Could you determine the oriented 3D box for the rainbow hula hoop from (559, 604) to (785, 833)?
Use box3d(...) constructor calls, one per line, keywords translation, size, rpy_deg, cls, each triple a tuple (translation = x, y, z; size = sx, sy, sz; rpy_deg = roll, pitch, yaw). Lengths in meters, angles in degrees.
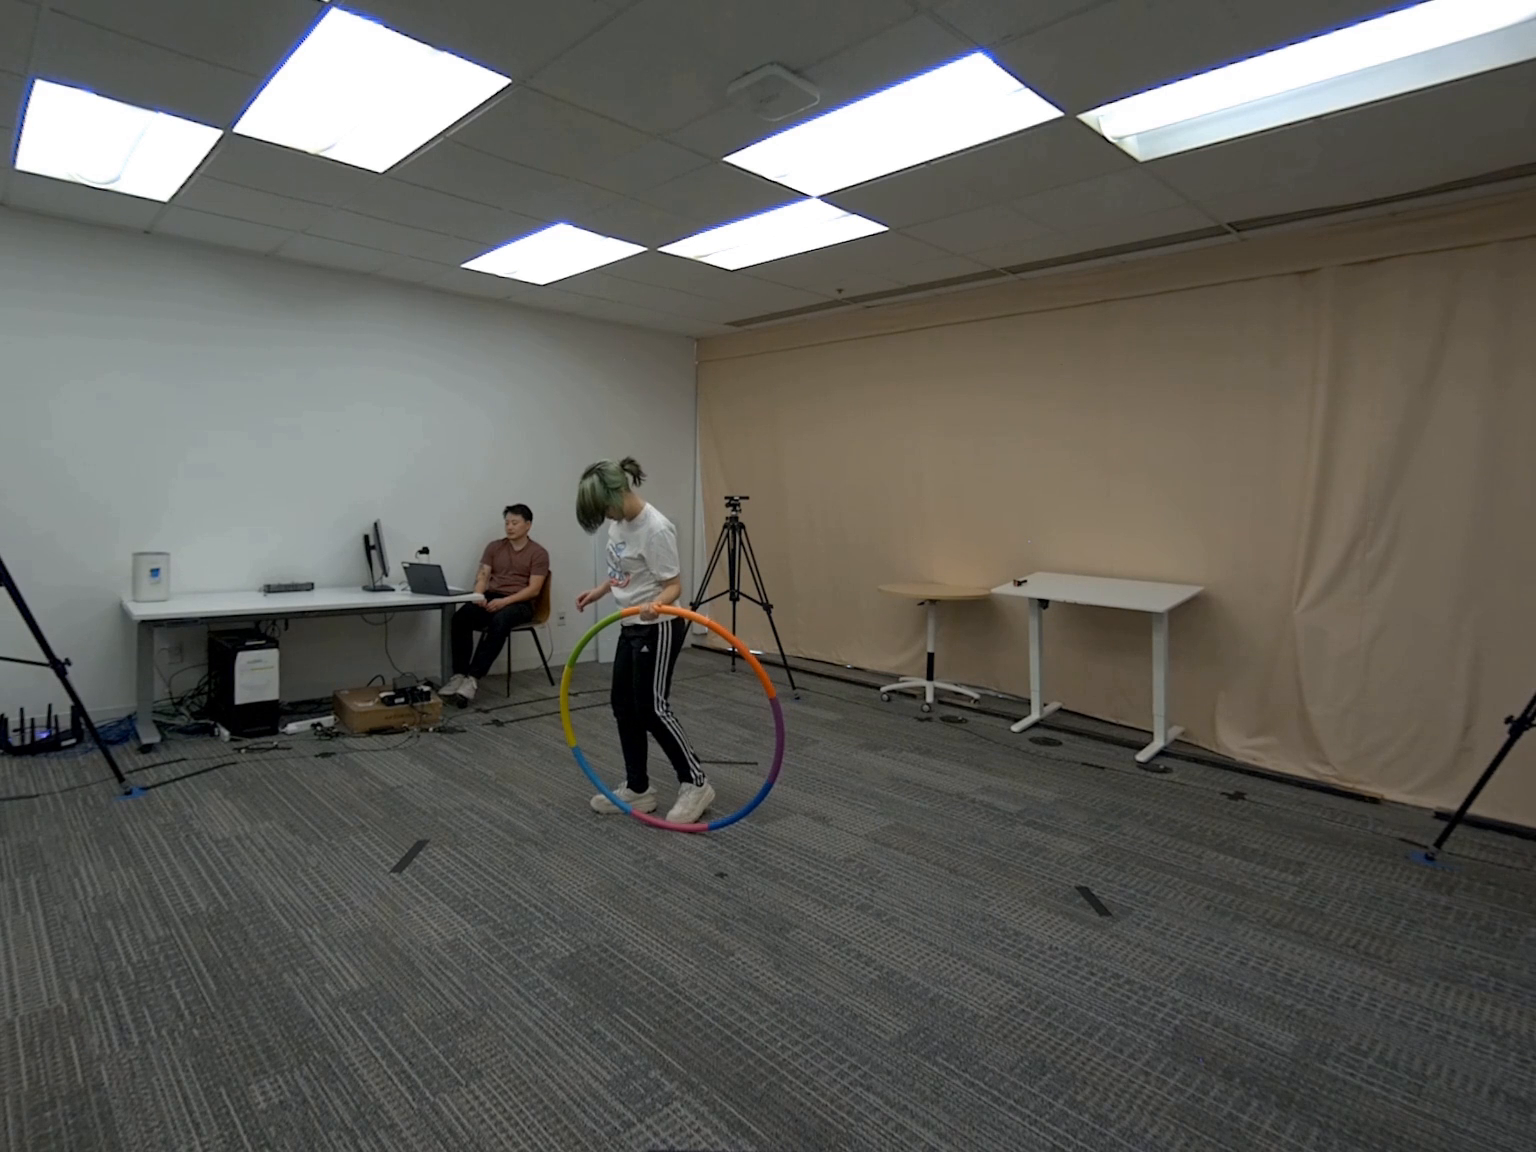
box3d(translation=(-0.408, 0.588, 3.390), size=(0.994, 0.967, 0.035), rpy_deg=(3, 16, 20), cls="rainbow hula hoop")
